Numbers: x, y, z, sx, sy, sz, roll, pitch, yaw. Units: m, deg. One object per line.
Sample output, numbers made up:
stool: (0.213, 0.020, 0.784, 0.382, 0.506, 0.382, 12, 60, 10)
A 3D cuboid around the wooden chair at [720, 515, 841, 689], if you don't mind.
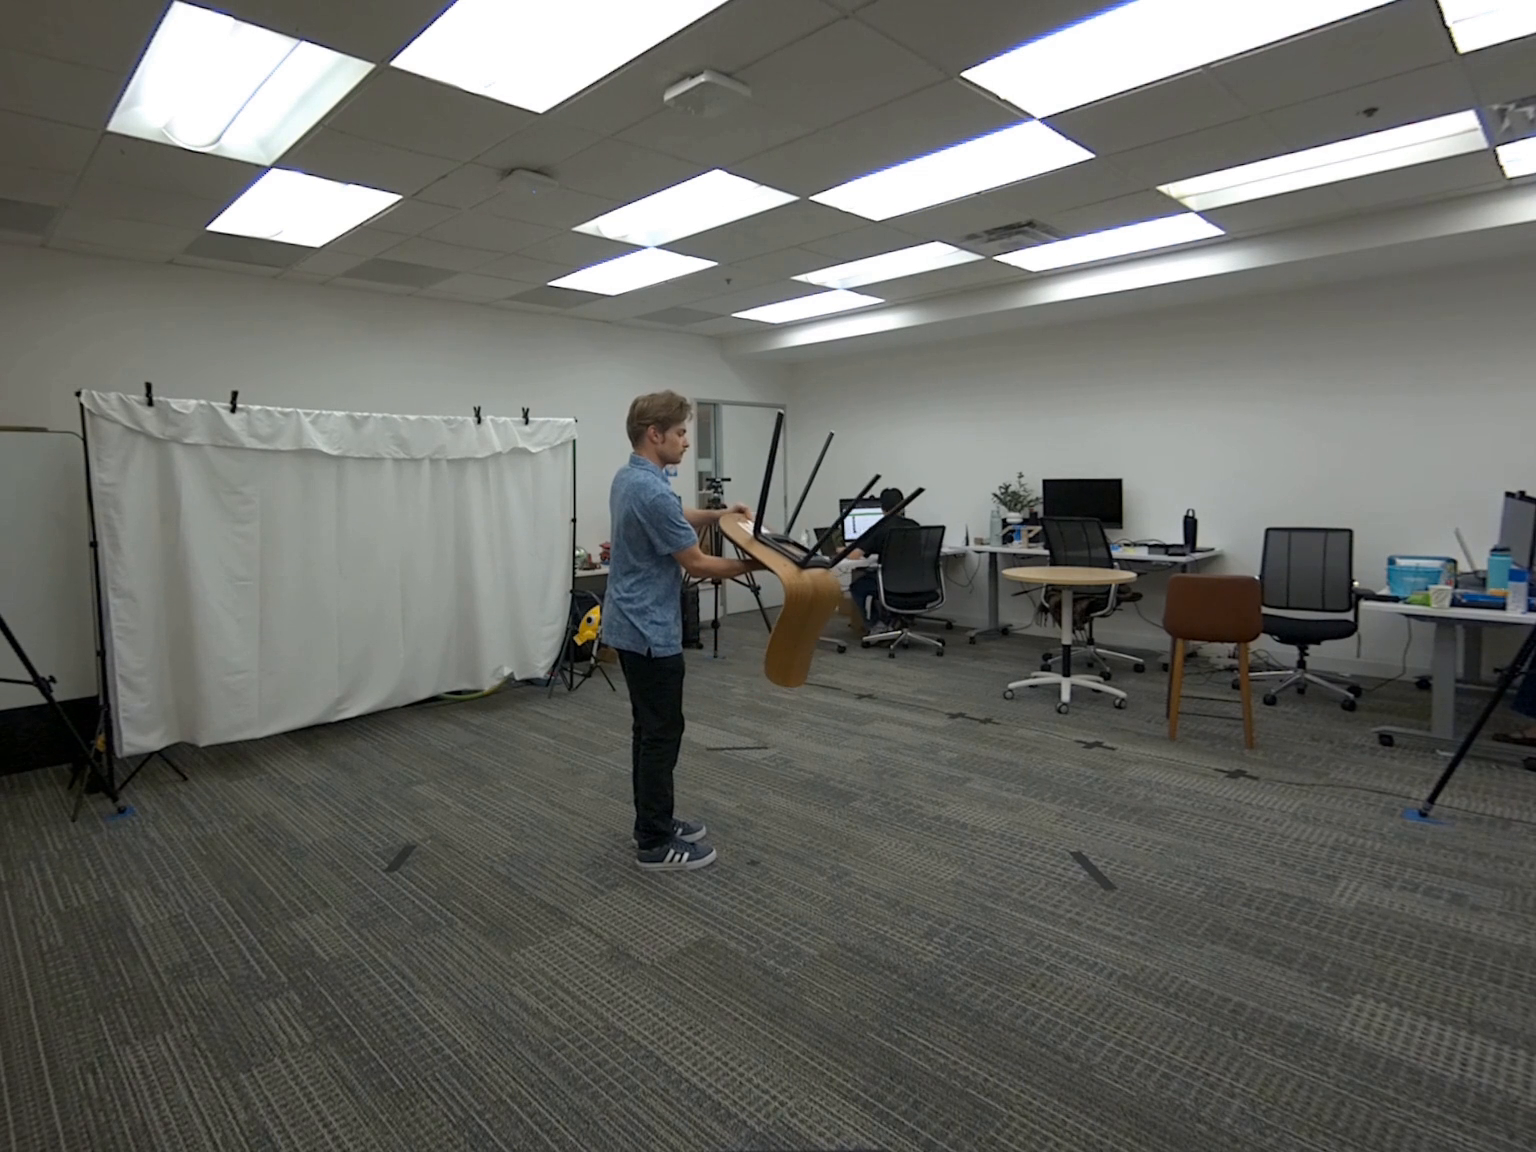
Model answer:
wooden chair: (0.095, -0.095, 3.188, 0.540, 0.873, 0.465, 33, 14, 27)
